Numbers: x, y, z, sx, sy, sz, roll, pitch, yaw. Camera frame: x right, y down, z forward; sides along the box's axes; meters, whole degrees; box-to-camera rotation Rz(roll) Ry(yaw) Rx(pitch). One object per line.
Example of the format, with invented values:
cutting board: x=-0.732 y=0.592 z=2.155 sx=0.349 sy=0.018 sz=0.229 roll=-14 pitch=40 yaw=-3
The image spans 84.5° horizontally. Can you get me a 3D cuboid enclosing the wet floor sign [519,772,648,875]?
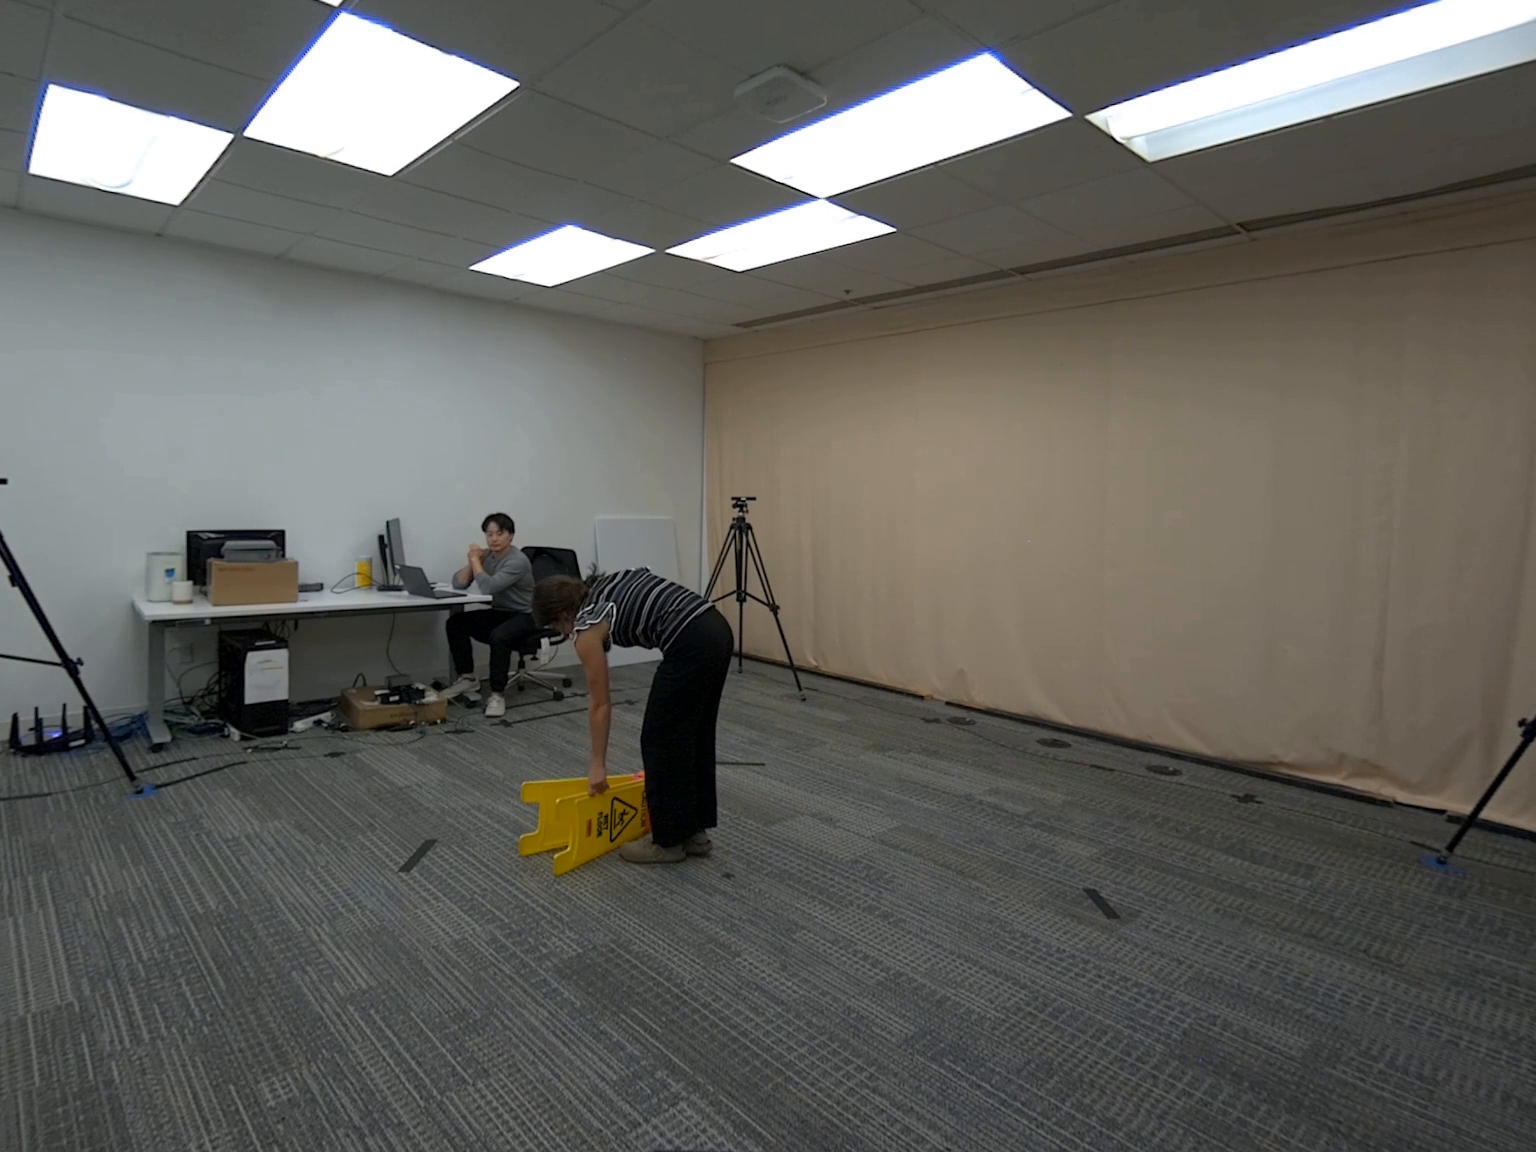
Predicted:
wet floor sign: x=-0.657 y=0.948 z=3.379 sx=0.297 sy=0.282 sz=0.630 roll=3 pitch=2 yaw=43
